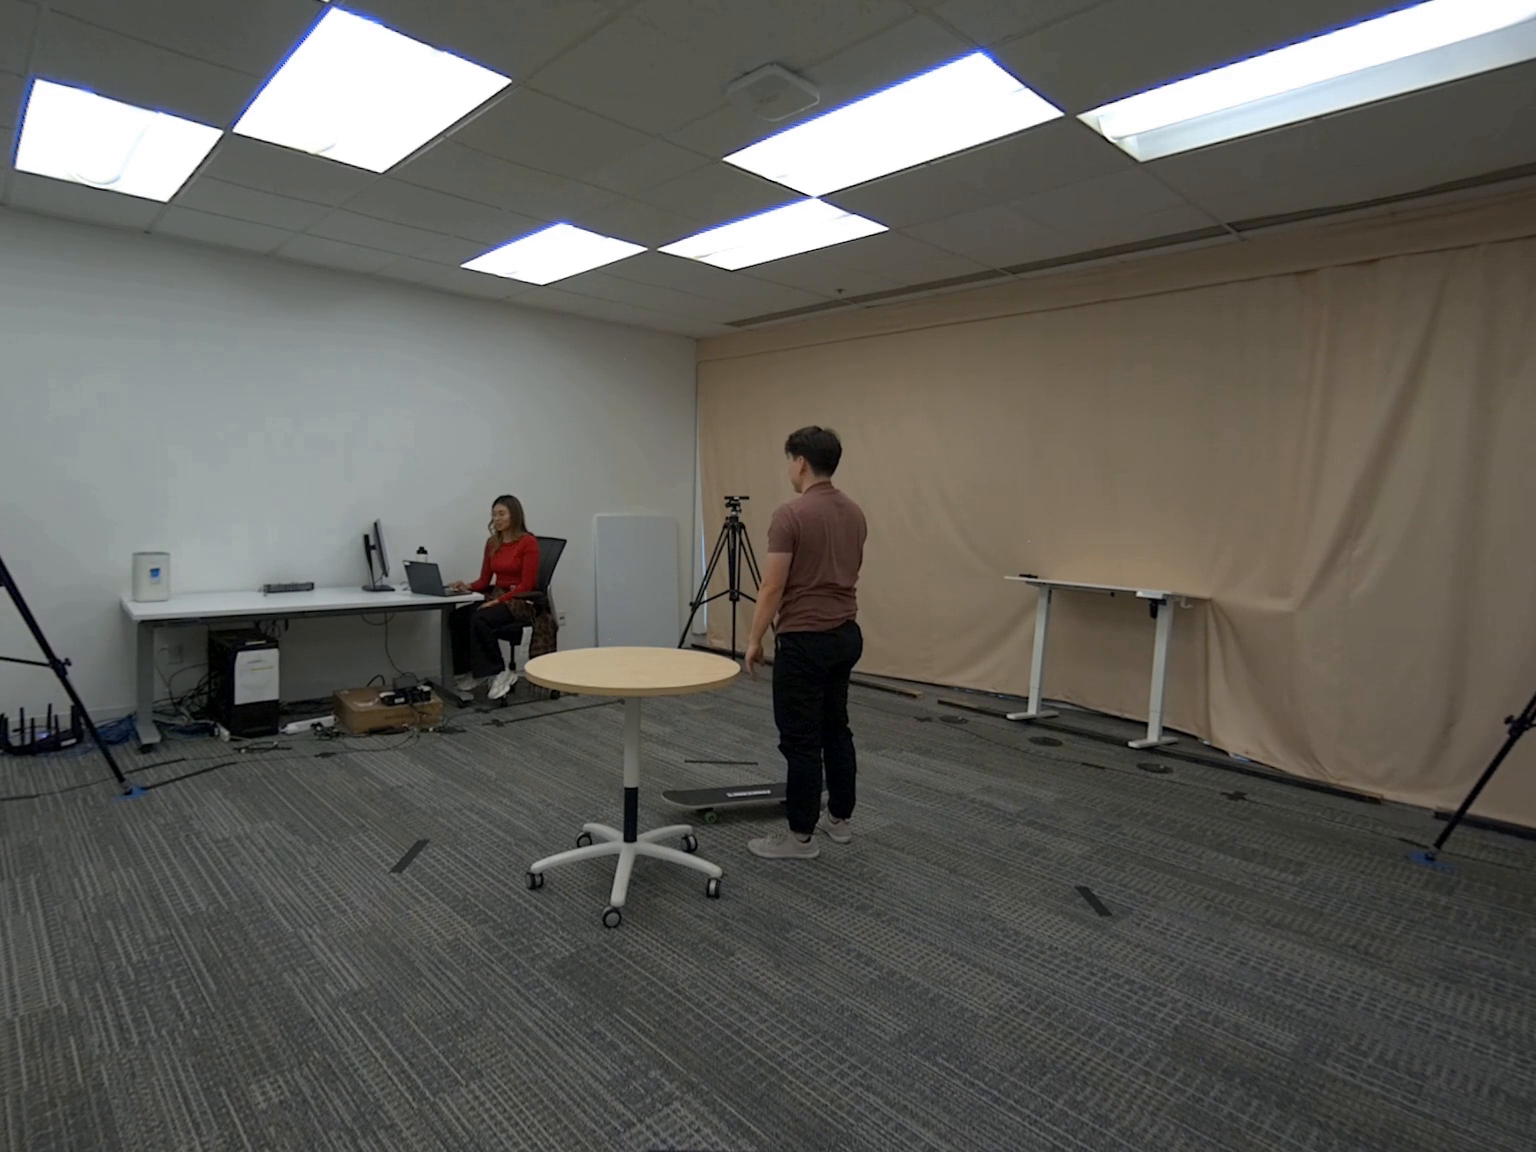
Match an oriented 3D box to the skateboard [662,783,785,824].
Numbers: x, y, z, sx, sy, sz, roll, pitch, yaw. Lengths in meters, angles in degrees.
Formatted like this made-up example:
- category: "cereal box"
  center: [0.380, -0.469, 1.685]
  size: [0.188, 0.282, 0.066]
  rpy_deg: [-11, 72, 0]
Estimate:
- category: "skateboard"
  center: [-0.093, 0.992, 3.733]
  size: [0.775, 0.110, 0.196]
  rpy_deg: [0, 5, -17]
